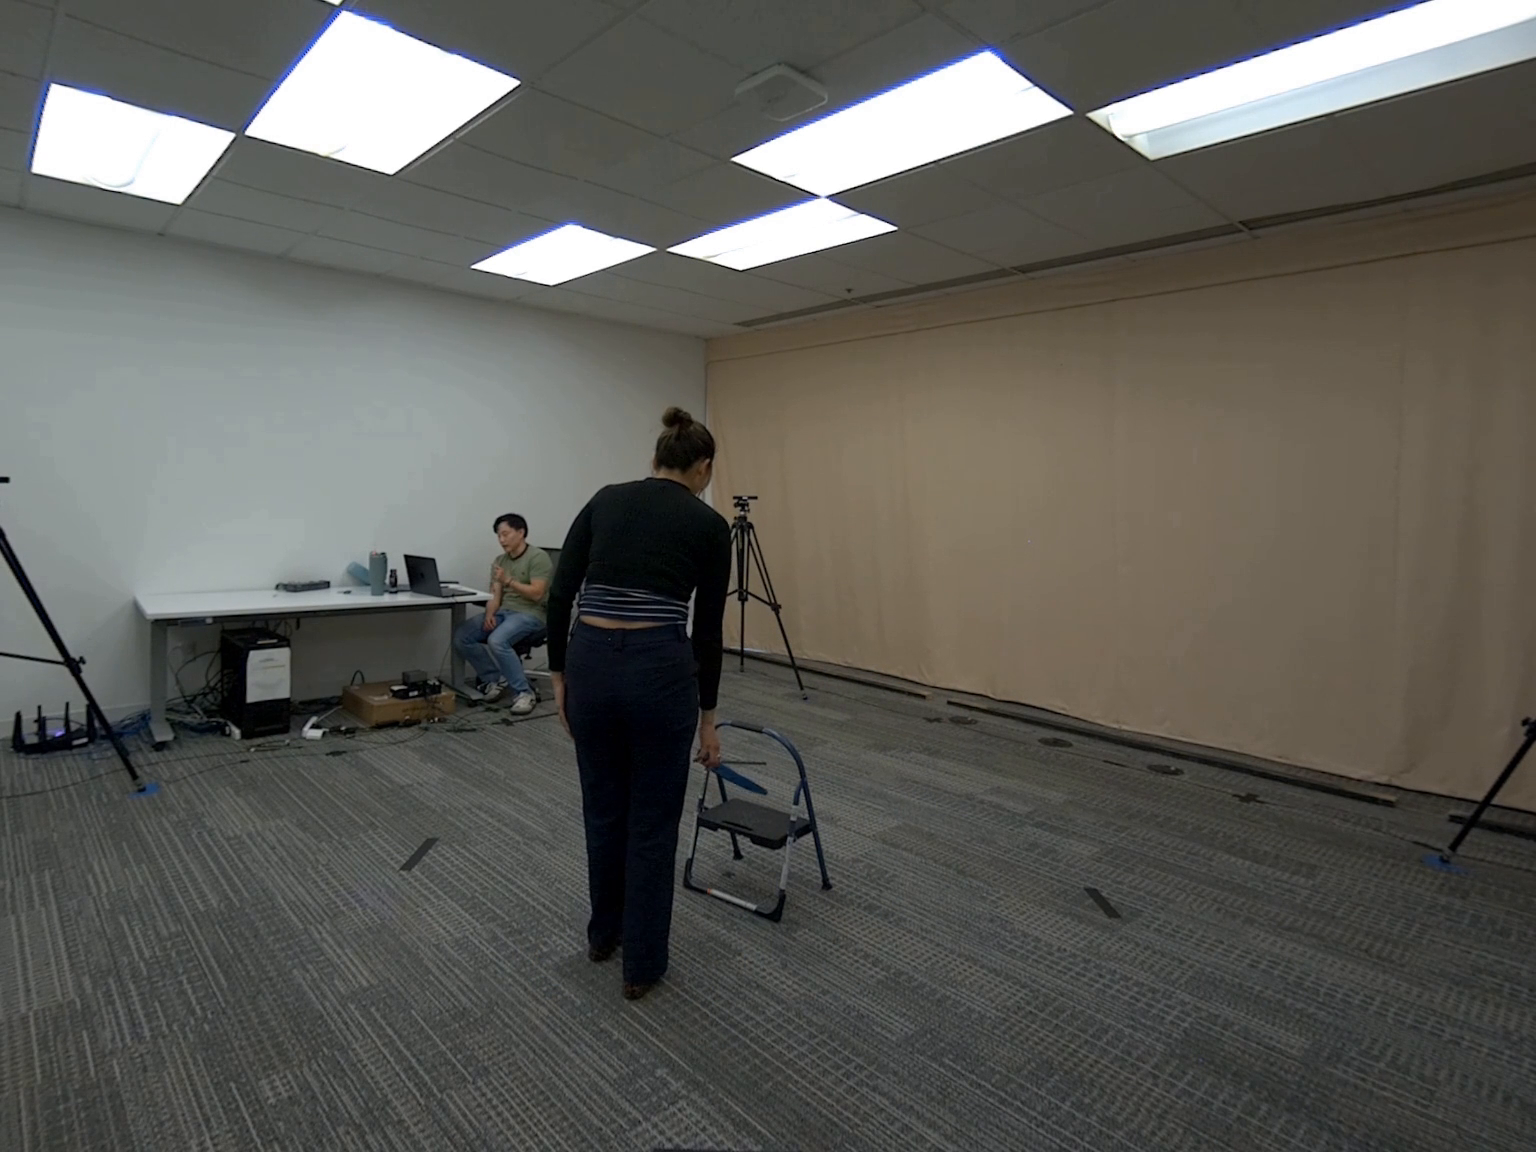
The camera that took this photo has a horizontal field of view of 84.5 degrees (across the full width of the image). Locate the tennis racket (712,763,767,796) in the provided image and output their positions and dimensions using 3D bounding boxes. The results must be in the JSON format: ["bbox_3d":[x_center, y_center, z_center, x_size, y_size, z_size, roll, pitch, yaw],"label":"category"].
[{"bbox_3d":[-0.126,0.622,2.629,0.218,0.032,0.421,19,-19,24],"label":"tennis racket"}]
